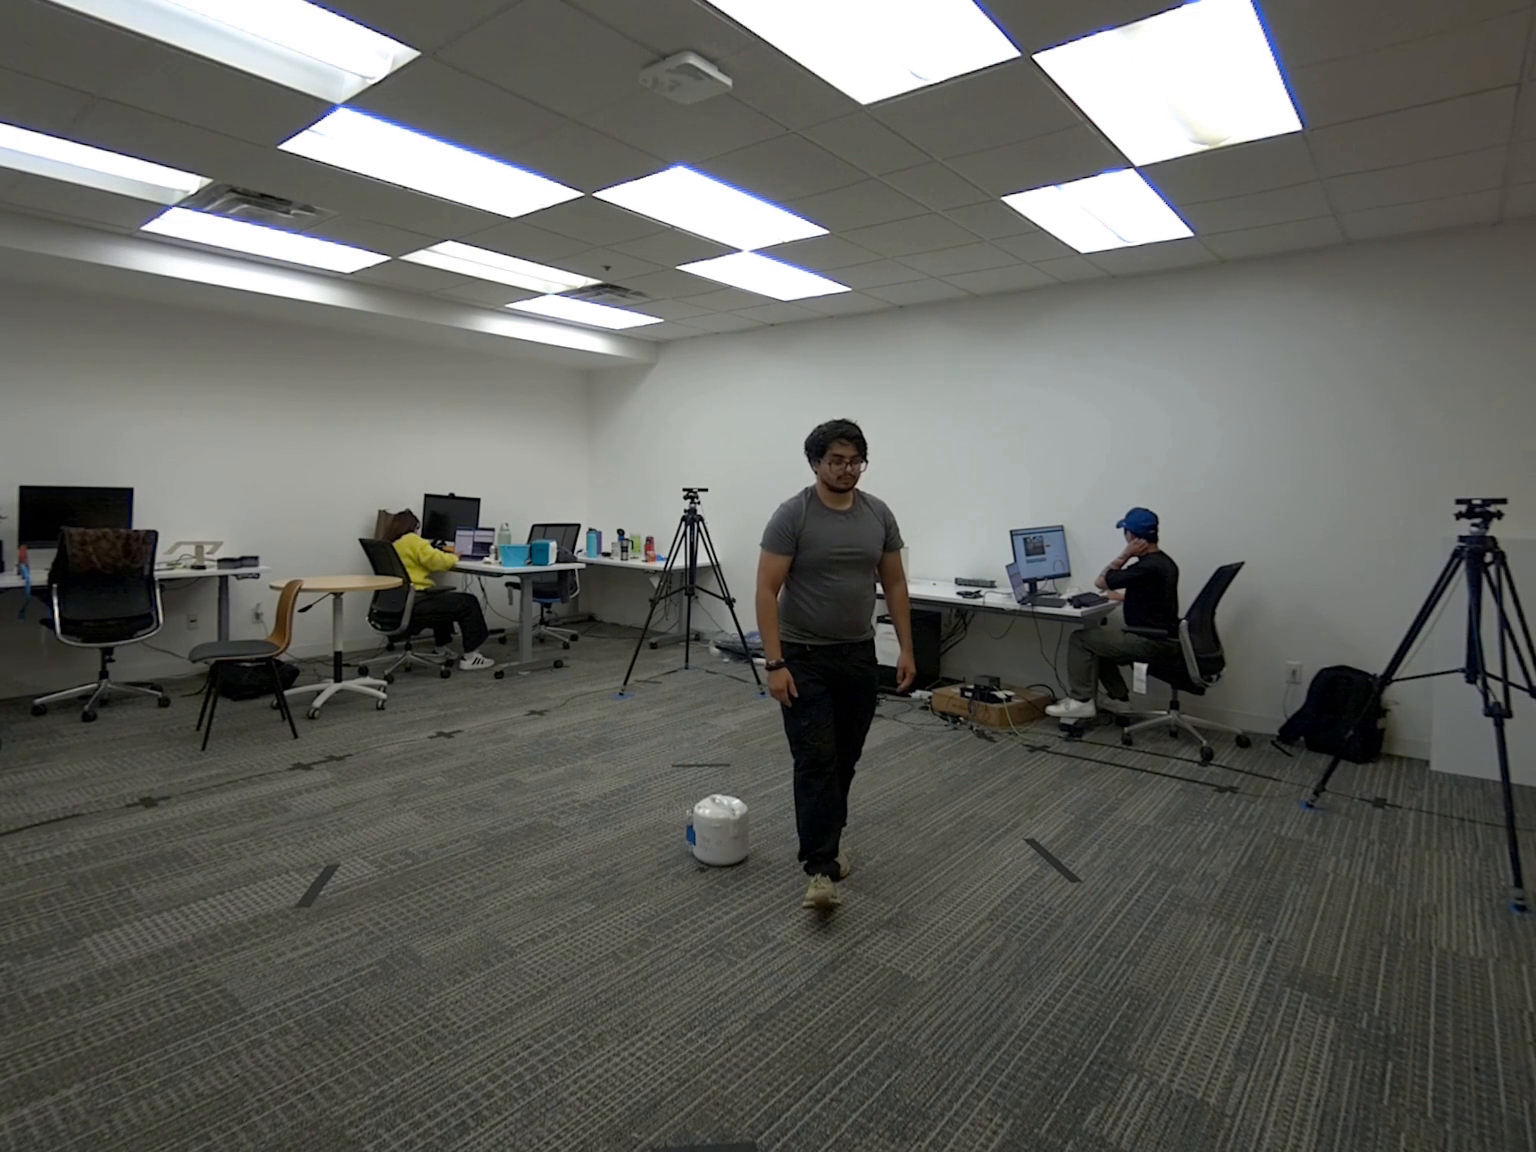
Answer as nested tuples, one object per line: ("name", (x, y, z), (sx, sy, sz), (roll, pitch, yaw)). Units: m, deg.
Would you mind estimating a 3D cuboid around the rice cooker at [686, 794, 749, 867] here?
("rice cooker", (-0.194, 0.946, 3.212), (0.211, 0.232, 0.227), (-2, 6, -32))
